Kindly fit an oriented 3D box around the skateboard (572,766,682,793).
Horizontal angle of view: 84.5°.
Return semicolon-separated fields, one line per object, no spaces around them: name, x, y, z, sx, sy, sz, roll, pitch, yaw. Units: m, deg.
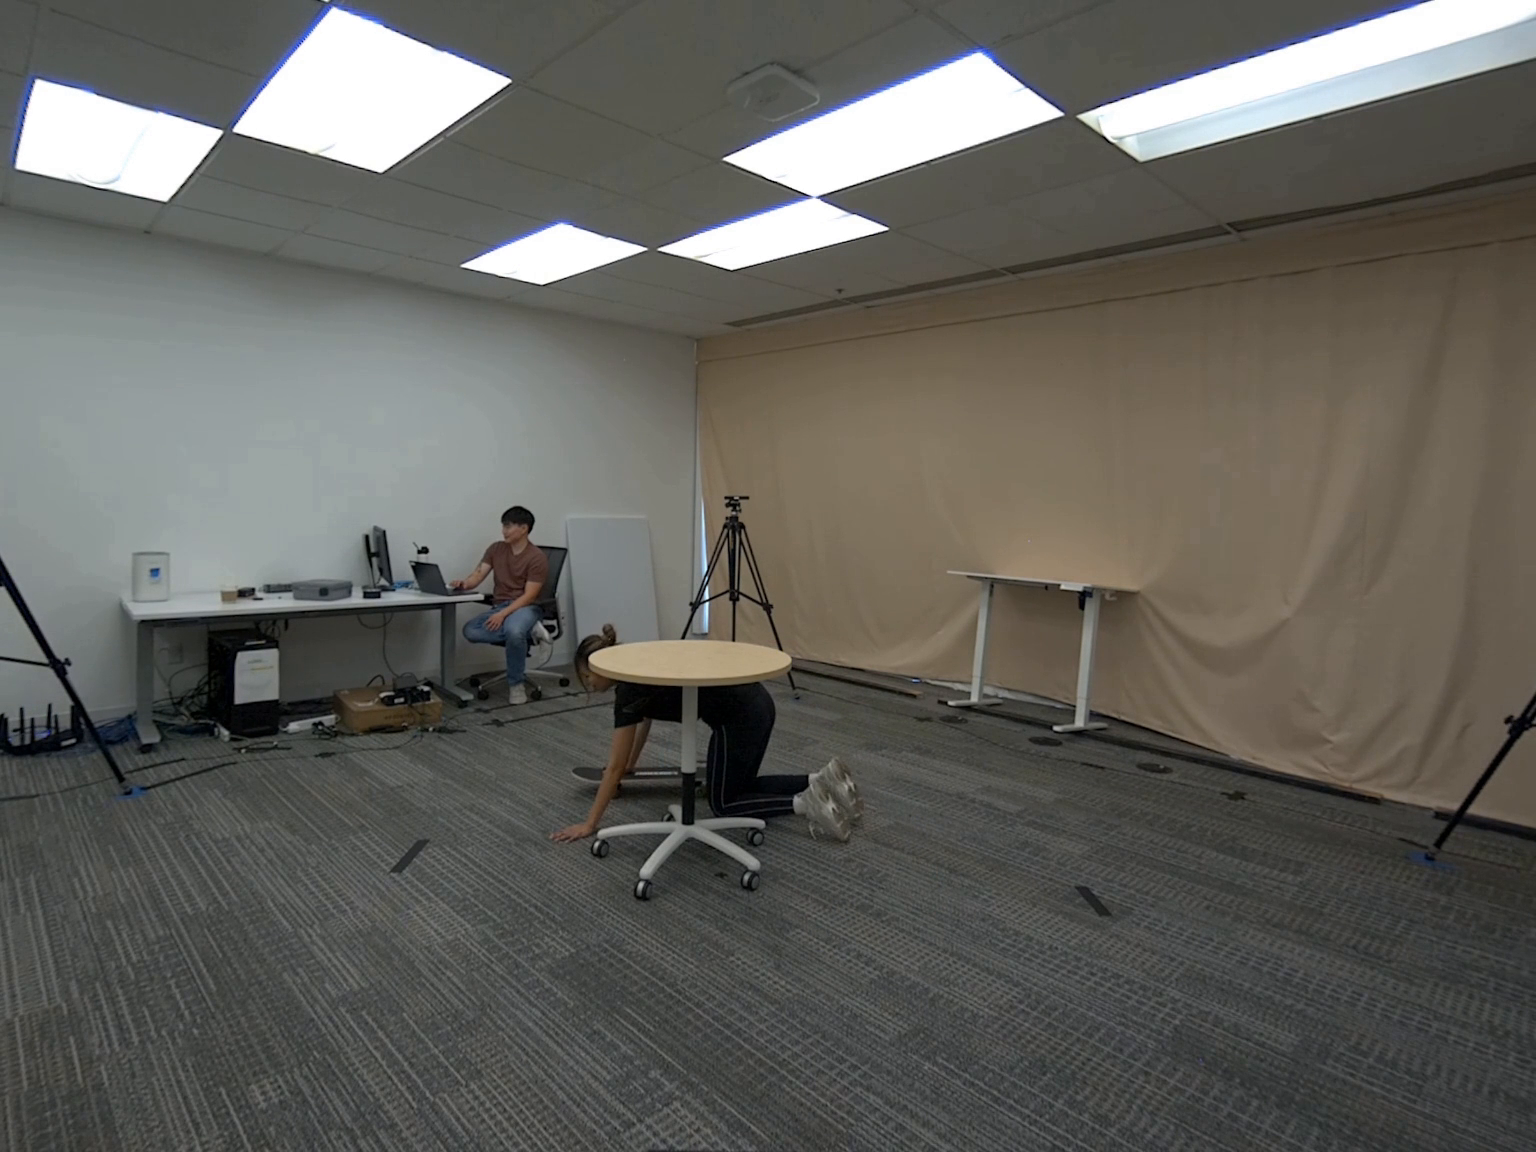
skateboard;-0.539;0.962;3.969;0.781;0.110;0.195;2;4;-6
